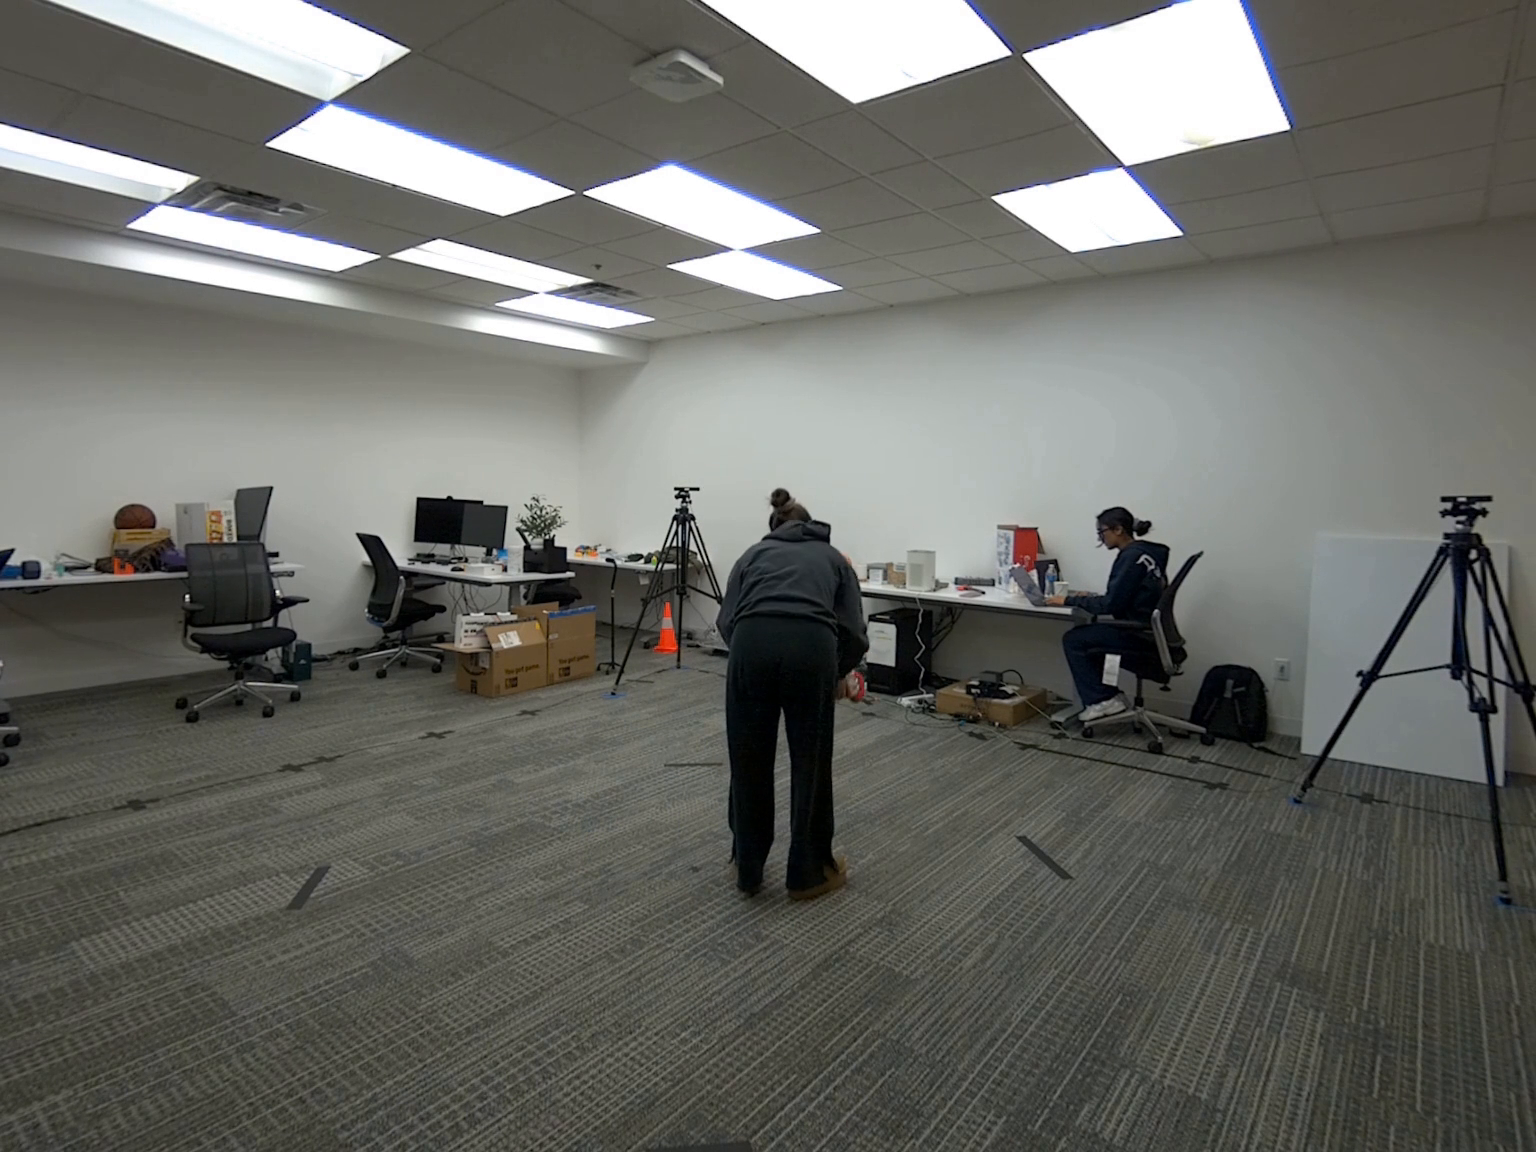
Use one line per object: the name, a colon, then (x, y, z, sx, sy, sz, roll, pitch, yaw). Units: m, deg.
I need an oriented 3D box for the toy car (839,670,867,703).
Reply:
toy car: (0.268, 0.543, 3.324, 0.083, 0.262, 0.126, -35, -25, 18)
